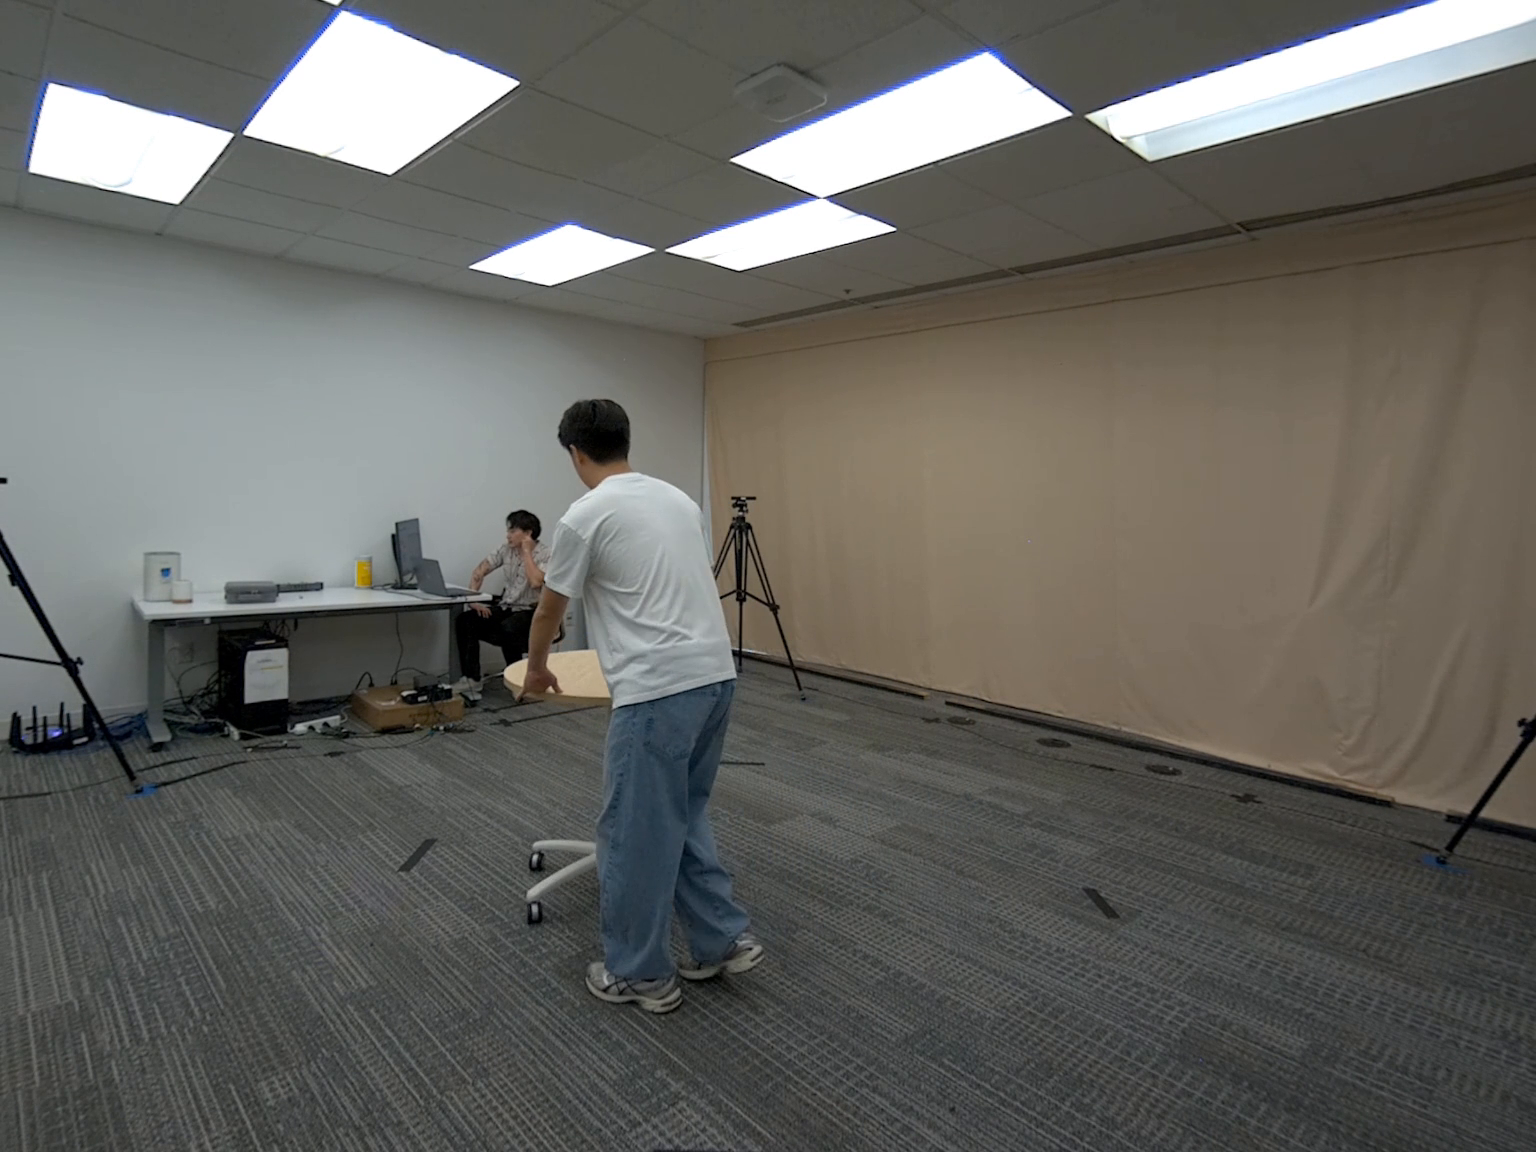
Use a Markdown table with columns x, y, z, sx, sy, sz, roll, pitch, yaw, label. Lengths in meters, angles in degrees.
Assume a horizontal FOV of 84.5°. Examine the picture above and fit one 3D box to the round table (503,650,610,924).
| x | y | z | sx | sy | sz | roll | pitch | yaw | label |
| --- | --- | --- | --- | --- | --- | --- | --- | --- | --- |
| -0.541 | 0.726 | 2.971 | 0.763 | 0.792 | 0.767 | 1 | 4 | -1 | round table |
